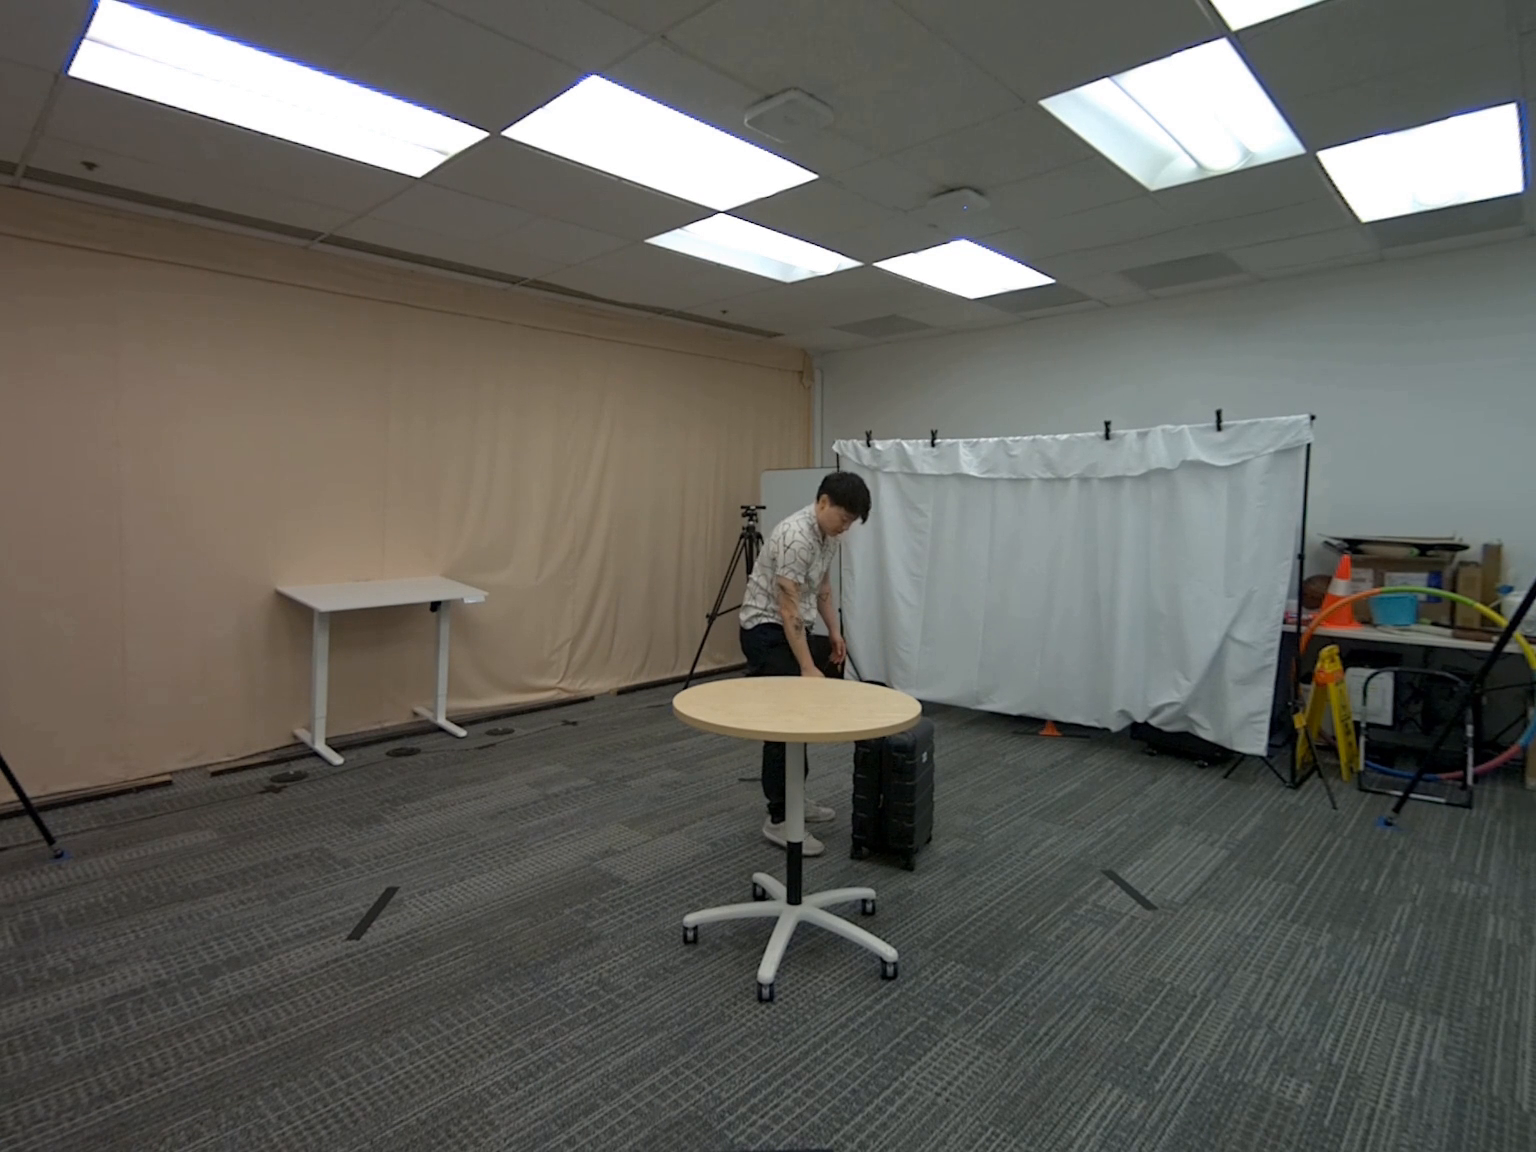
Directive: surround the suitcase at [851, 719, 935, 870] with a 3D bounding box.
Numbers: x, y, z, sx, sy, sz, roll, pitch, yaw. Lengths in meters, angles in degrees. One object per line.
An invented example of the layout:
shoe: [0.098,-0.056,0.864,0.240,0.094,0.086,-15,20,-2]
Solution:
suitcase: [0.508,0.836,3.369,0.255,0.548,0.366,2,4,27]
